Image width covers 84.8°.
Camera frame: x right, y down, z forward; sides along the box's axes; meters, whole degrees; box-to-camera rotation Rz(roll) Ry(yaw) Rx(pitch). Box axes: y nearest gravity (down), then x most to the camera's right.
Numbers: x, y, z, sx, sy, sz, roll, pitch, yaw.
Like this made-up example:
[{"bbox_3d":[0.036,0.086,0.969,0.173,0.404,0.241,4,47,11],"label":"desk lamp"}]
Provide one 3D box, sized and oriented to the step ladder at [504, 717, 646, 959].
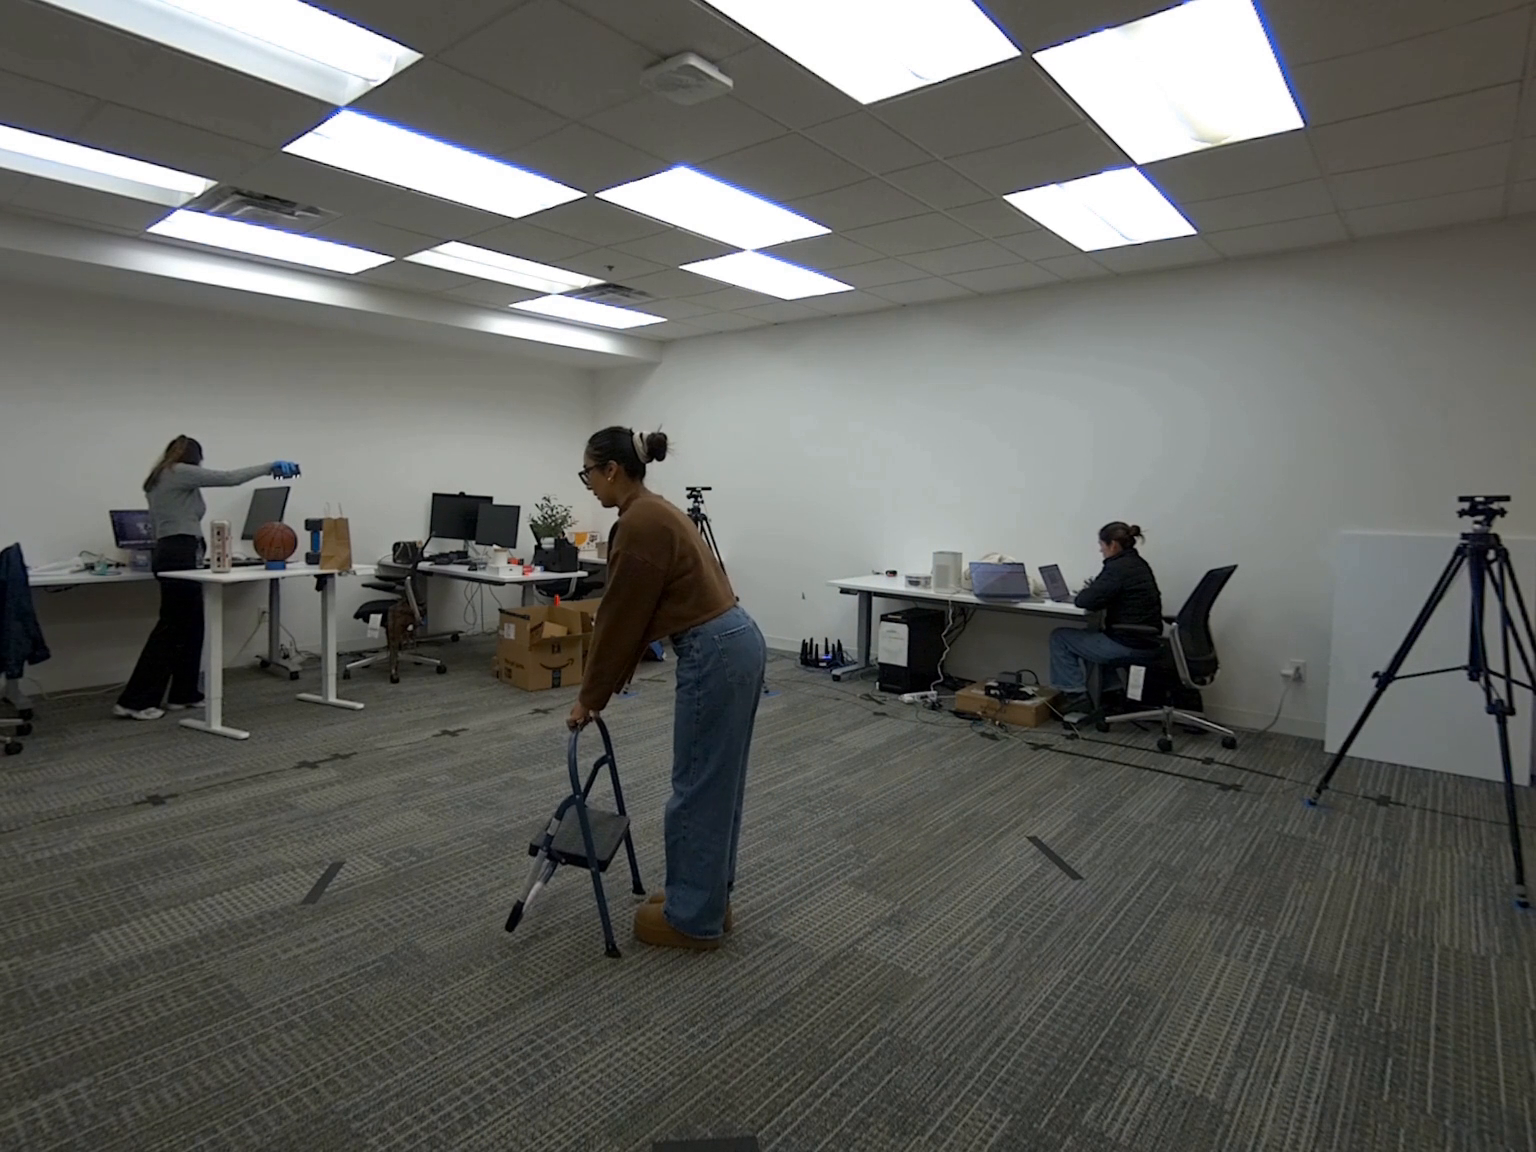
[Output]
[{"bbox_3d":[-0.559,0.758,2.665,0.351,0.605,0.429,10,3,3],"label":"step ladder"}]
